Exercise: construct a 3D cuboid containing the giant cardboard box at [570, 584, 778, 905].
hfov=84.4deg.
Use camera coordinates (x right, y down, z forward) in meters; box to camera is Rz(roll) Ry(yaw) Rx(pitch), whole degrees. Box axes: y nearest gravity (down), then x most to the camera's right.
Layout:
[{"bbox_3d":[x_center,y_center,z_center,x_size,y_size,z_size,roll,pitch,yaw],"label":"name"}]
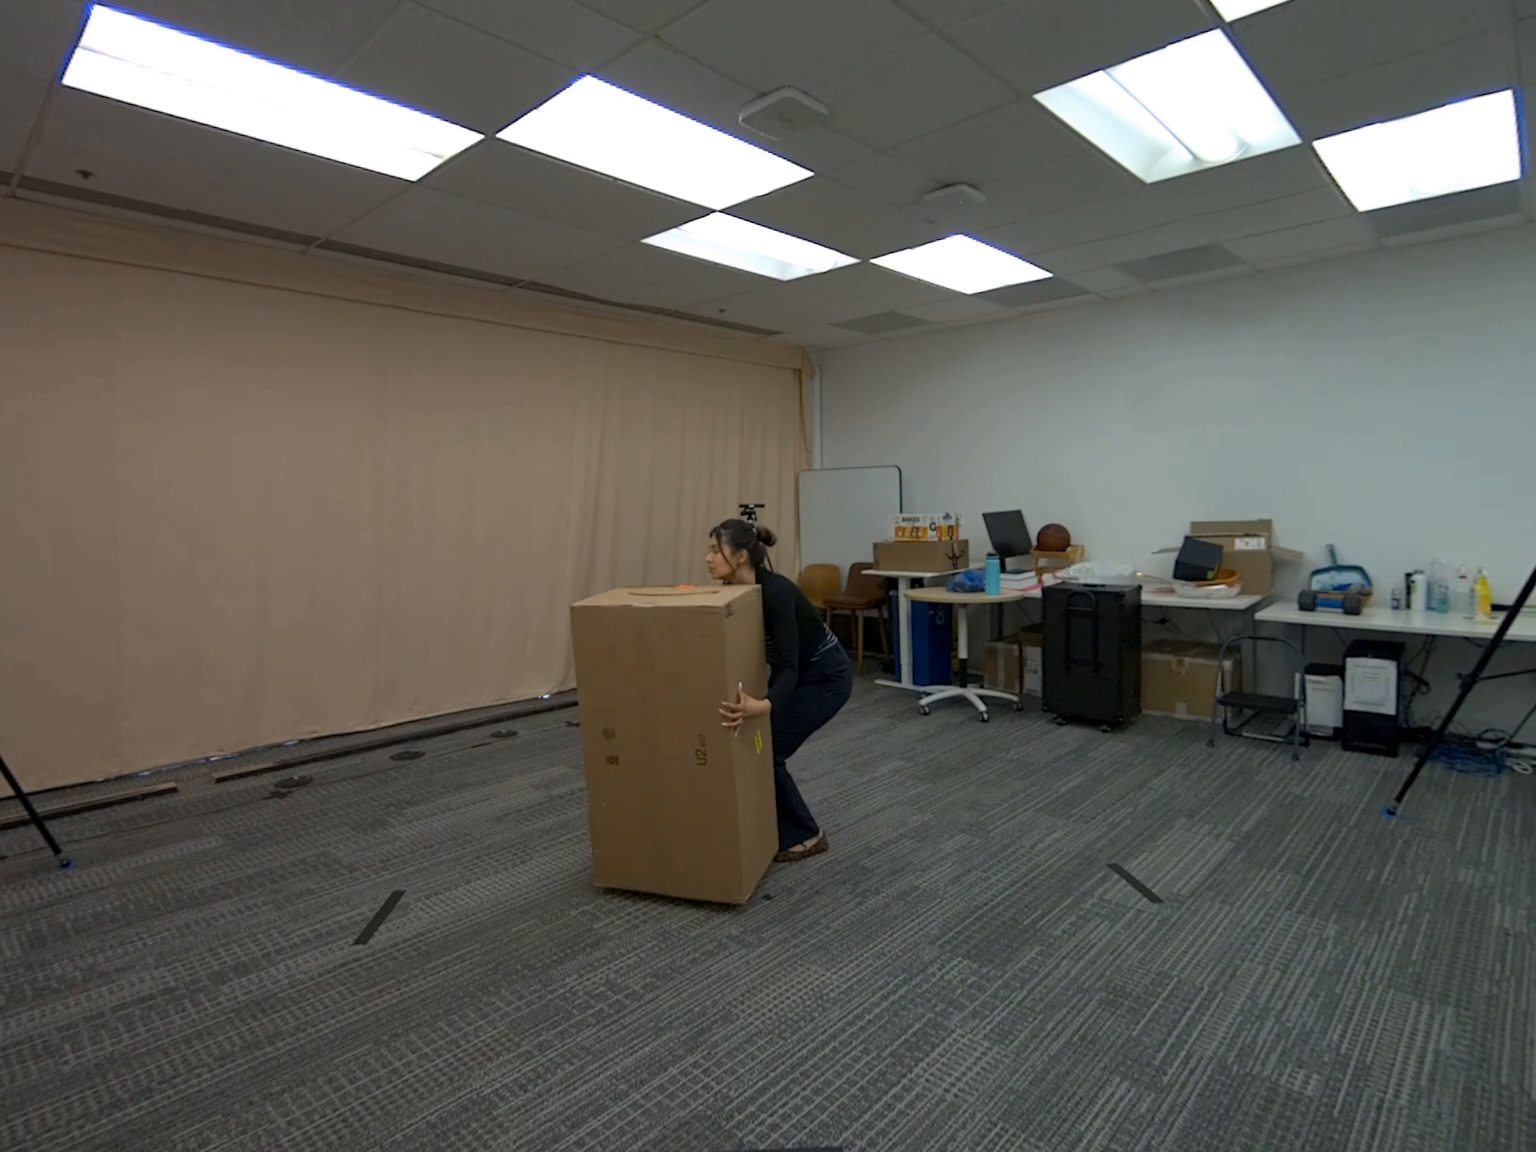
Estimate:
[{"bbox_3d":[-0.326,0.572,3.069,0.589,1.021,0.419,-1,7,19],"label":"giant cardboard box"}]
